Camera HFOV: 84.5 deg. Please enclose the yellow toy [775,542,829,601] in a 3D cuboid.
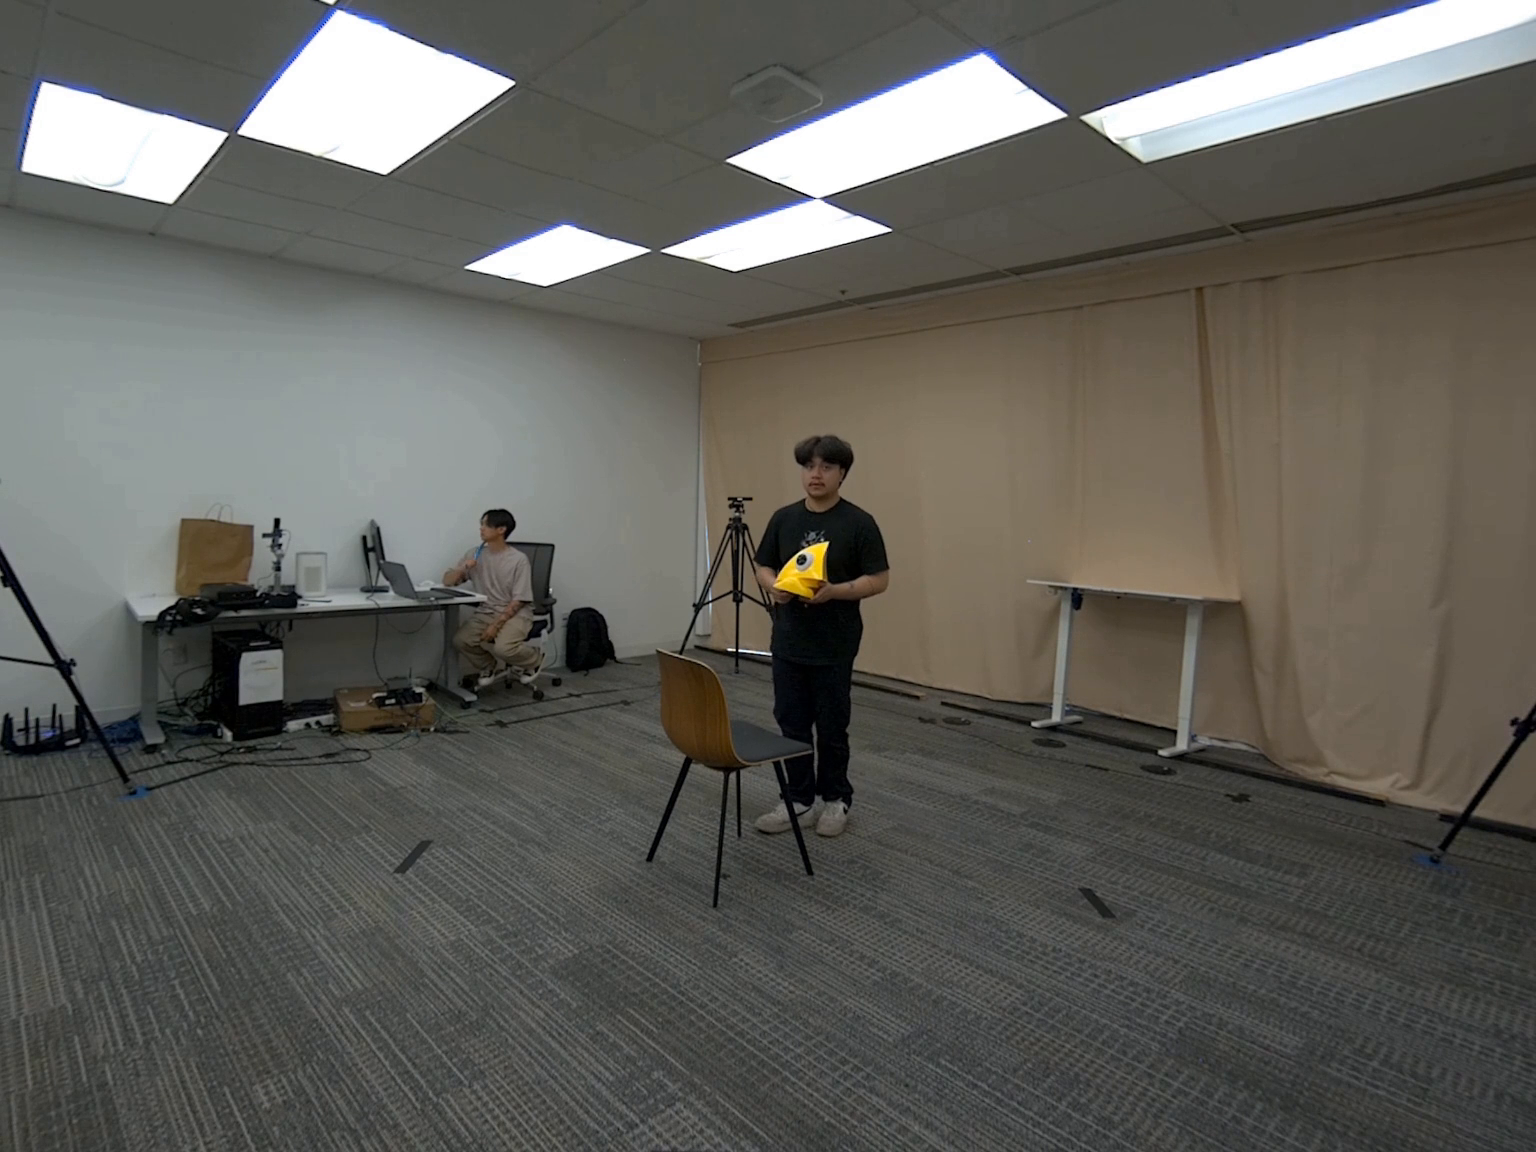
[{"bbox_3d":[0.141,-0.039,3.312,0.195,0.231,0.202,17,0,12],"label":"yellow toy"}]
